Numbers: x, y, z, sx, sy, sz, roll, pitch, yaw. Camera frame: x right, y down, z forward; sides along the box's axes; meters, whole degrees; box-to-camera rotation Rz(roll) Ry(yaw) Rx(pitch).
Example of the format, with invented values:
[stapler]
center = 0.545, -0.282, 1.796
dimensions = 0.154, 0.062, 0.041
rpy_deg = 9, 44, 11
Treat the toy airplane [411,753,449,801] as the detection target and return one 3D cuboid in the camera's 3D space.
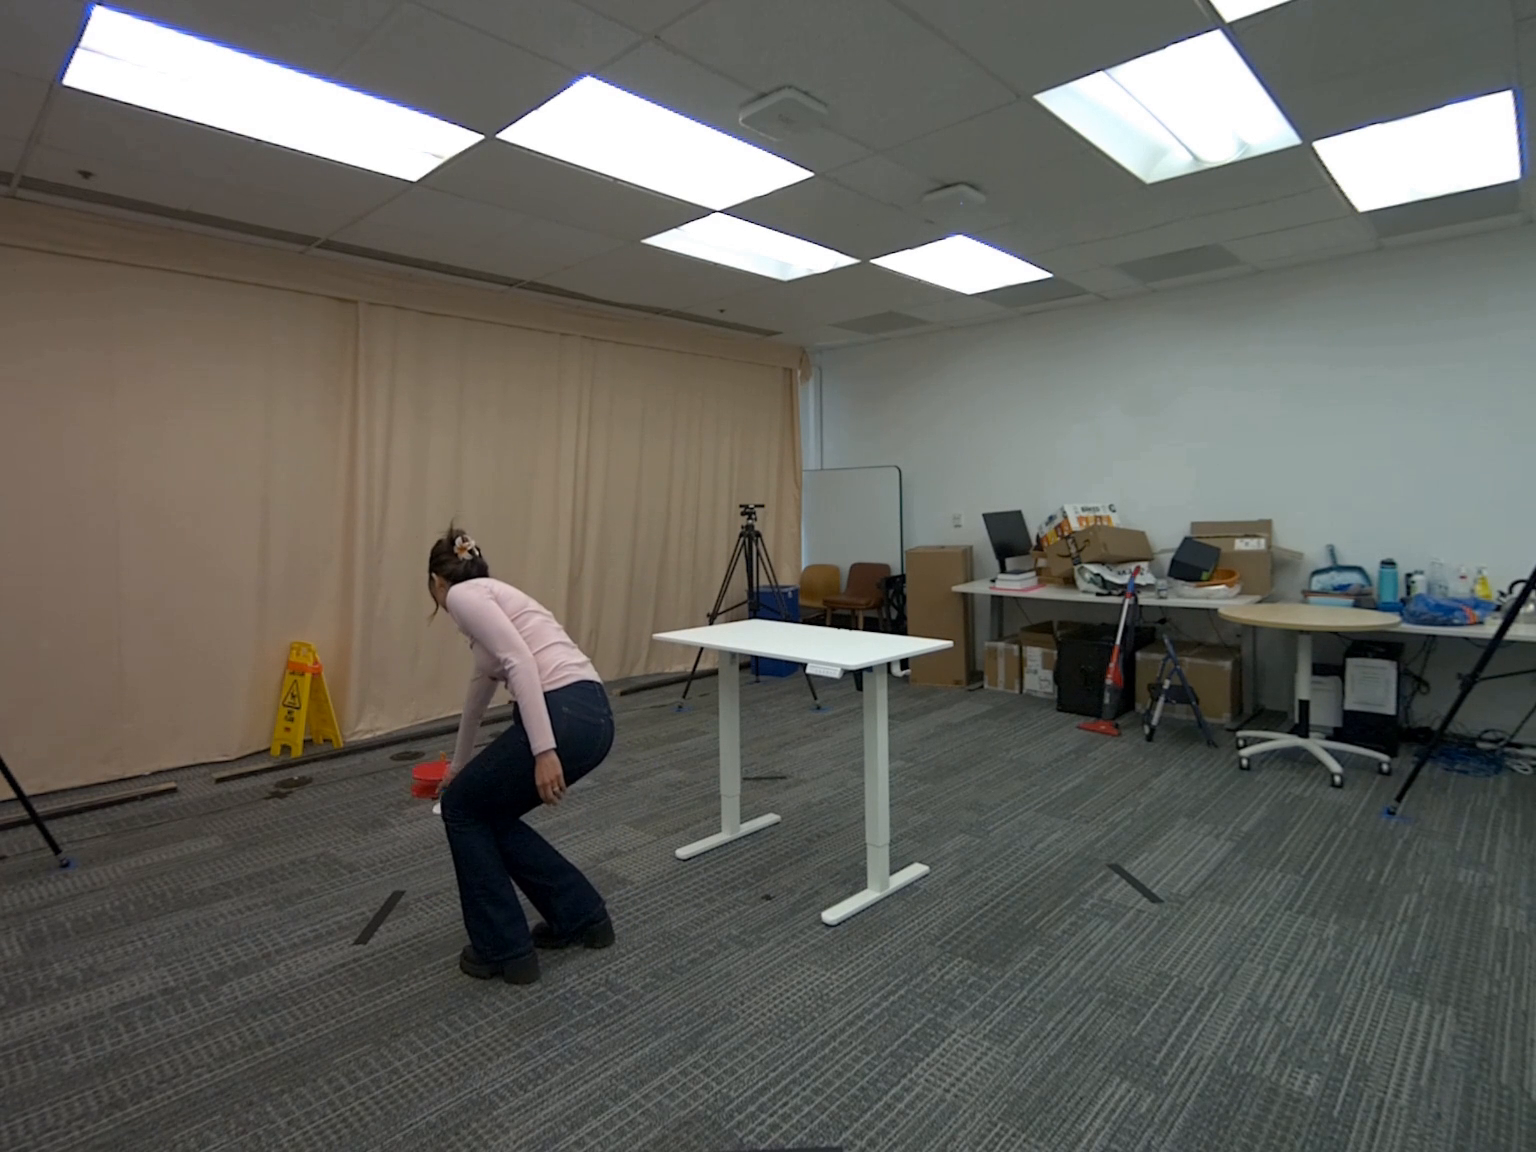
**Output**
[toy airplane]
center = -1.135, 0.765, 3.020
dimensions = 0.268, 0.155, 0.244
rpy_deg = 12, 13, 37
